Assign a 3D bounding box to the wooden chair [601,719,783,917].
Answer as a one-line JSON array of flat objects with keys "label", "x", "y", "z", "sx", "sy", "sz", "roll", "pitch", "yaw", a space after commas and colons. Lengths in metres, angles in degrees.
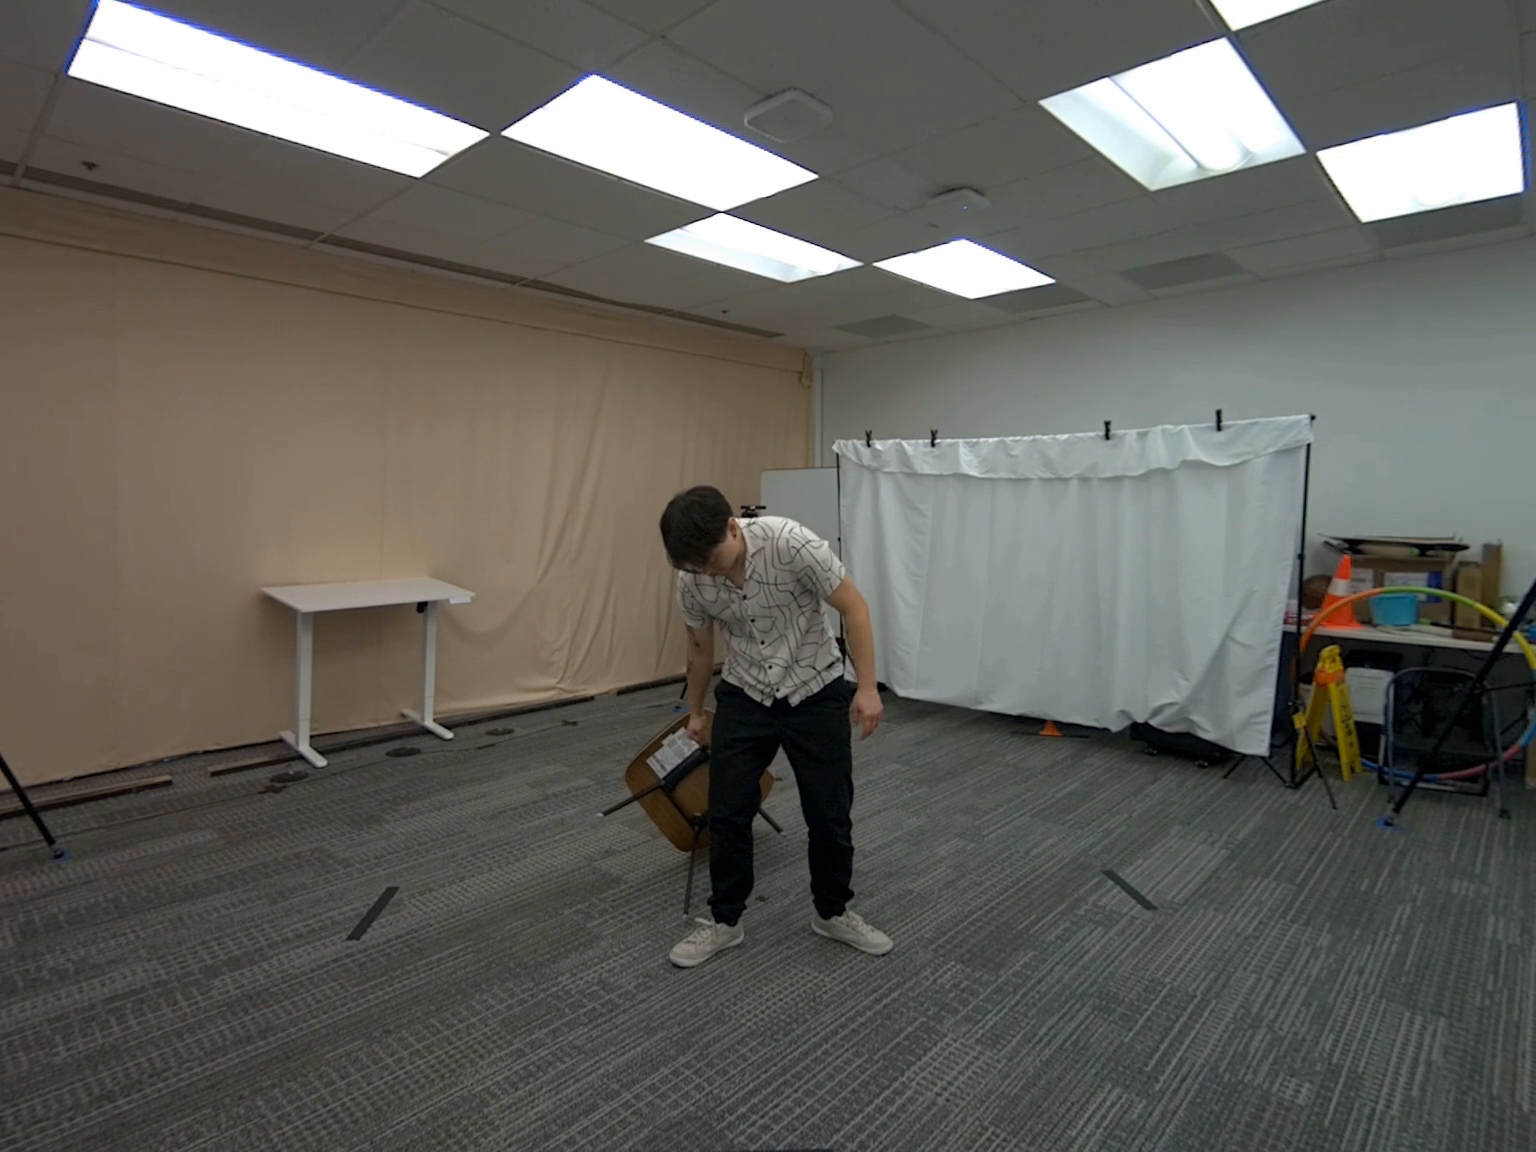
[{"label": "wooden chair", "x": -0.264, "y": 0.817, "z": 3.214, "sx": 0.478, "sy": 0.527, "sz": 0.870, "roll": -41, "pitch": -4, "yaw": 2}]
